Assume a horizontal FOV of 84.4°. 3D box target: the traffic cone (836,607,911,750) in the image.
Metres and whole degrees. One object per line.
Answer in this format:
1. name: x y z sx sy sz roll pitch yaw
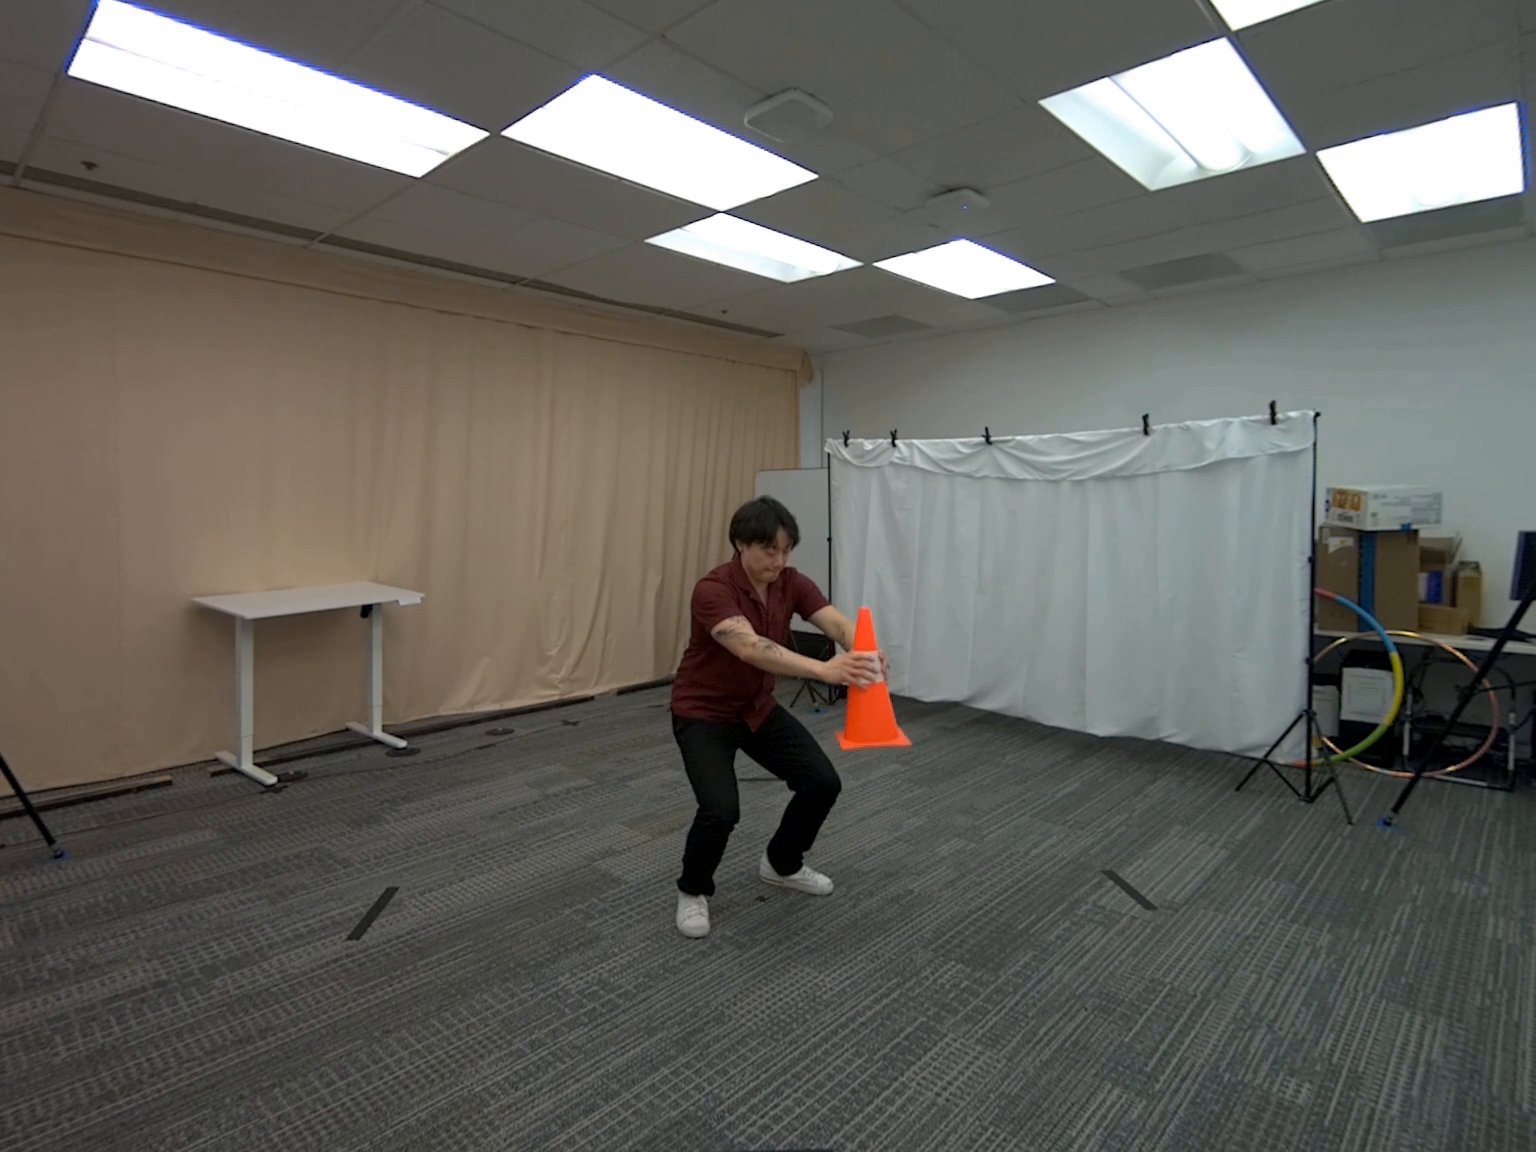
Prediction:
1. traffic cone: 0.292 0.289 2.456 0.204 0.383 0.205 -6 1 1
